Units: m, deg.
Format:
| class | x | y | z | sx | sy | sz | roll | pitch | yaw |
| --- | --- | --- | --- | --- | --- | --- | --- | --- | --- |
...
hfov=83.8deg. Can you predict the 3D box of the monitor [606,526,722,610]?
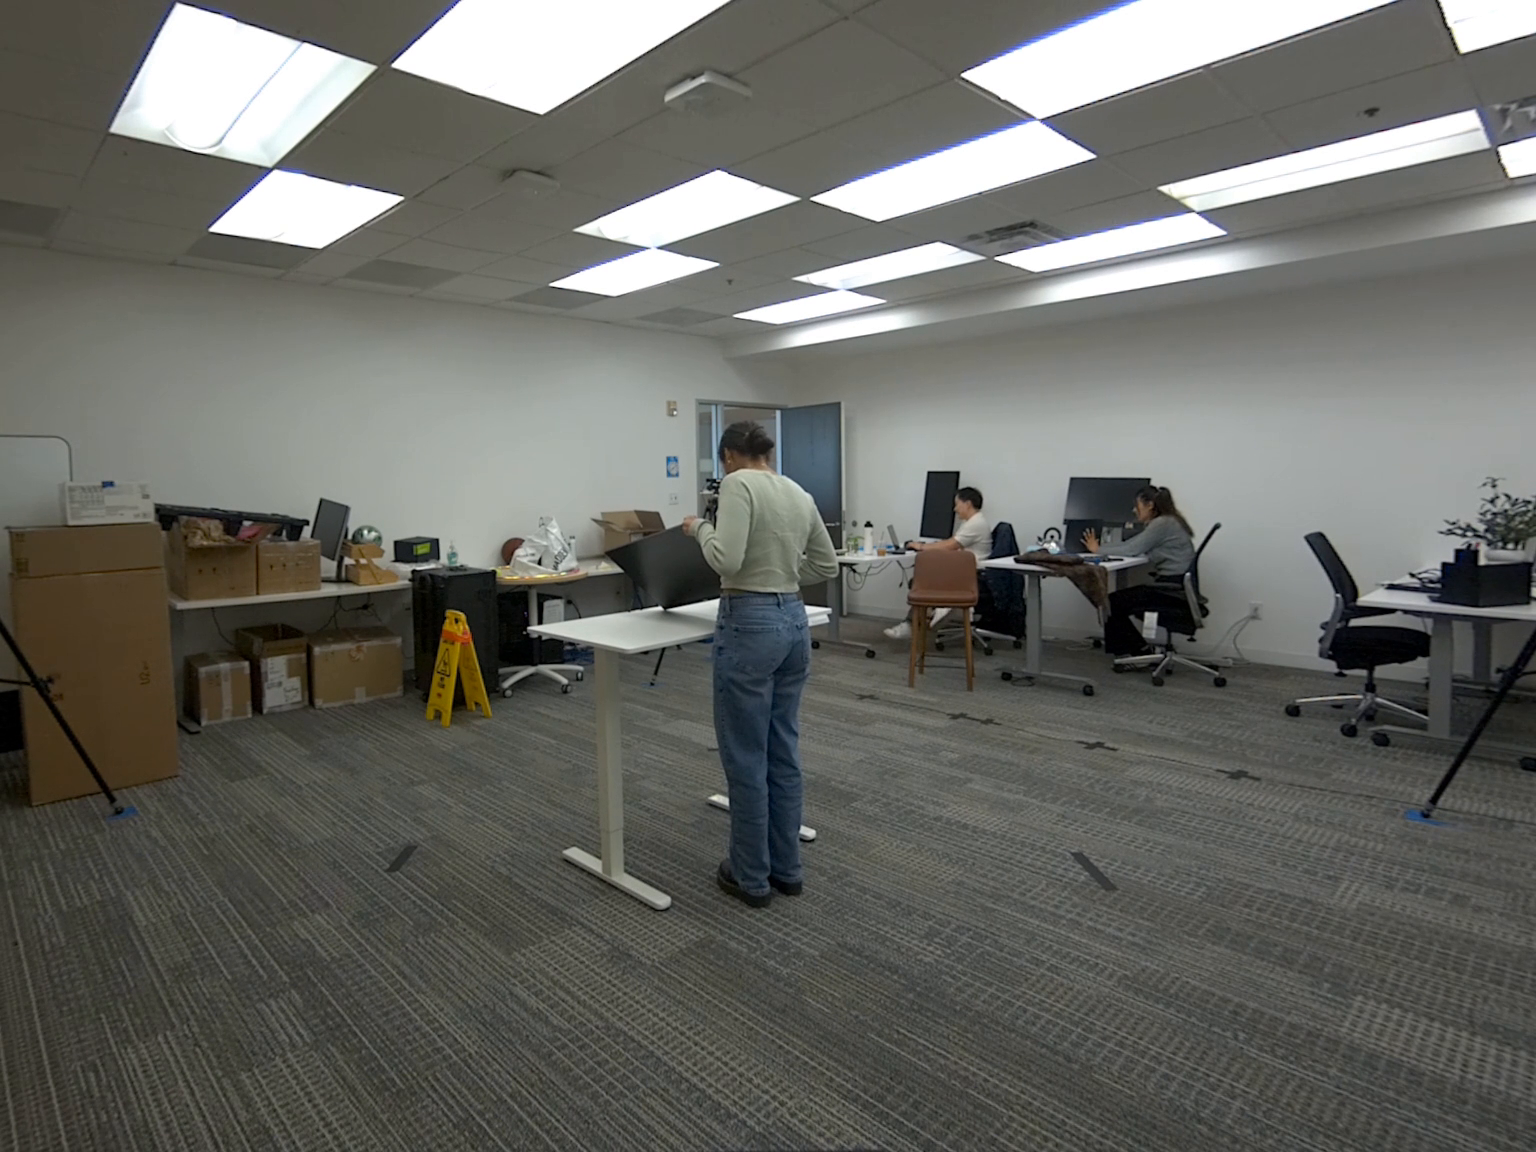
| class | x | y | z | sx | sy | sz | roll | pitch | yaw |
| --- | --- | --- | --- | --- | --- | --- | --- | --- | --- |
| monitor | -0.261 | -0.021 | 3.231 | 0.550 | 0.190 | 0.503 | -15 | -34 | 43 |
